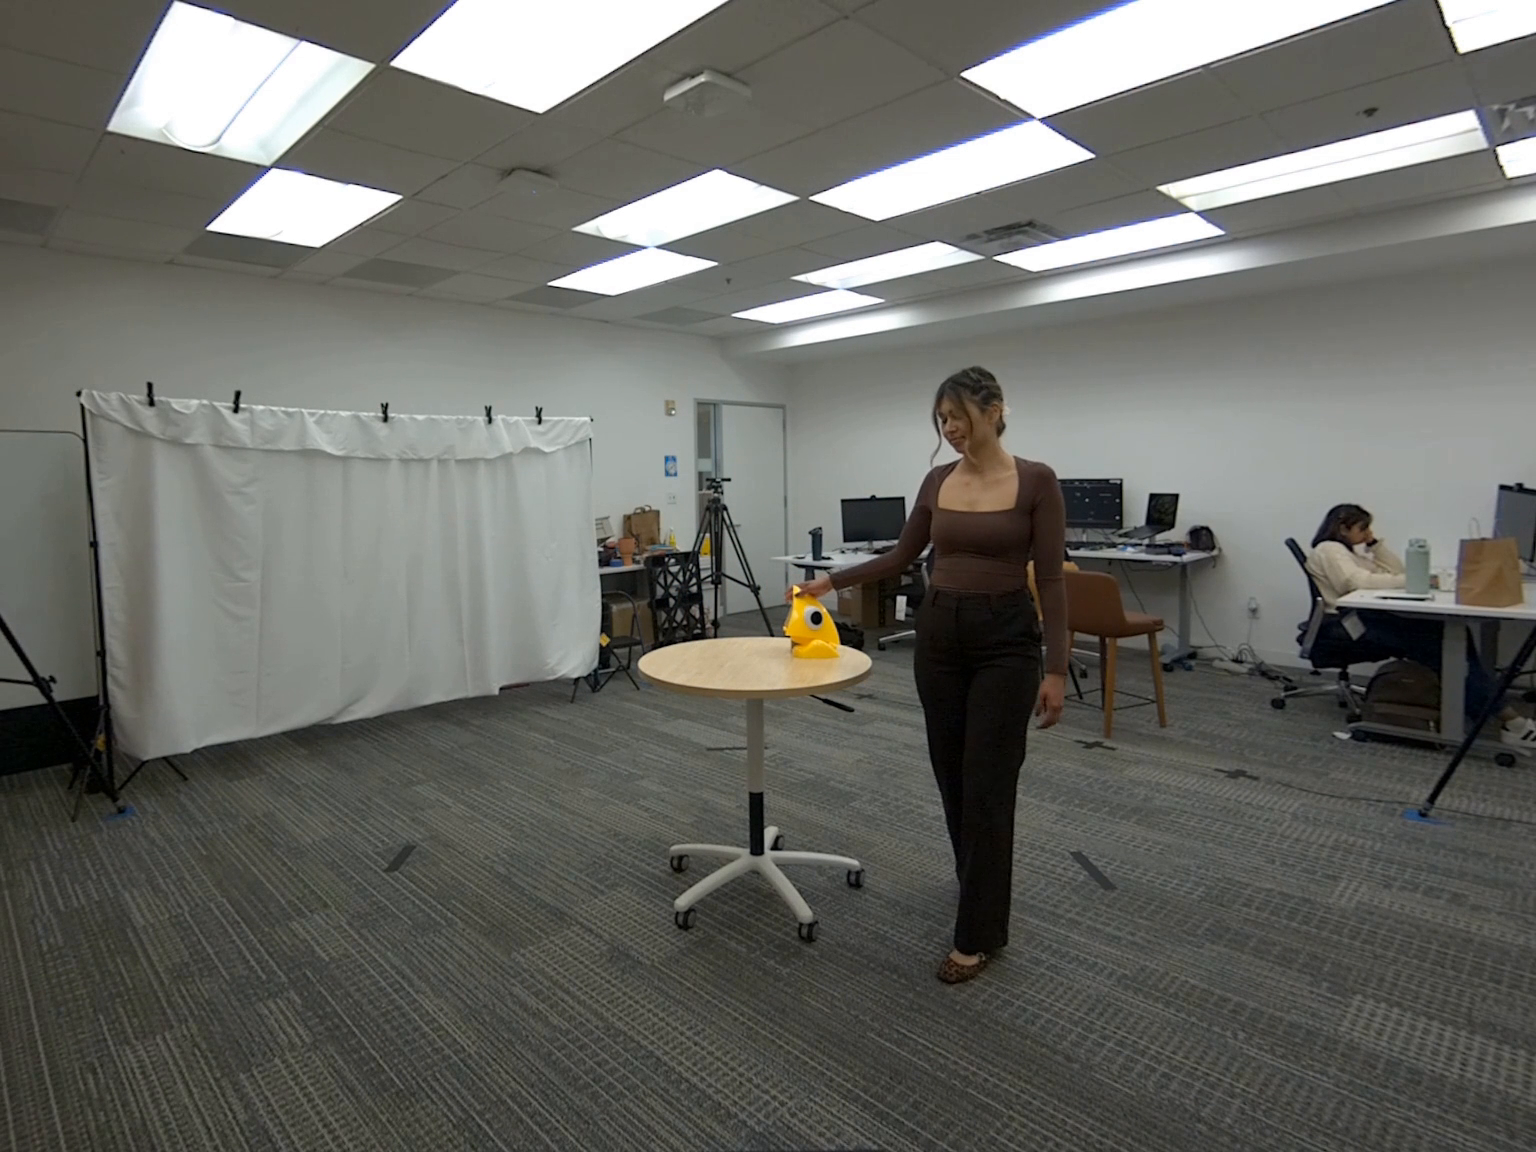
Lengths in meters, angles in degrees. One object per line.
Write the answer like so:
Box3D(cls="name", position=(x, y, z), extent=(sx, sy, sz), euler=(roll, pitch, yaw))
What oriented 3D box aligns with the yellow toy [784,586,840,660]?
Box3D(cls="yellow toy", position=(0.148, 0.146, 2.918), extent=(0.194, 0.230, 0.205), euler=(-3, 4, 2))
